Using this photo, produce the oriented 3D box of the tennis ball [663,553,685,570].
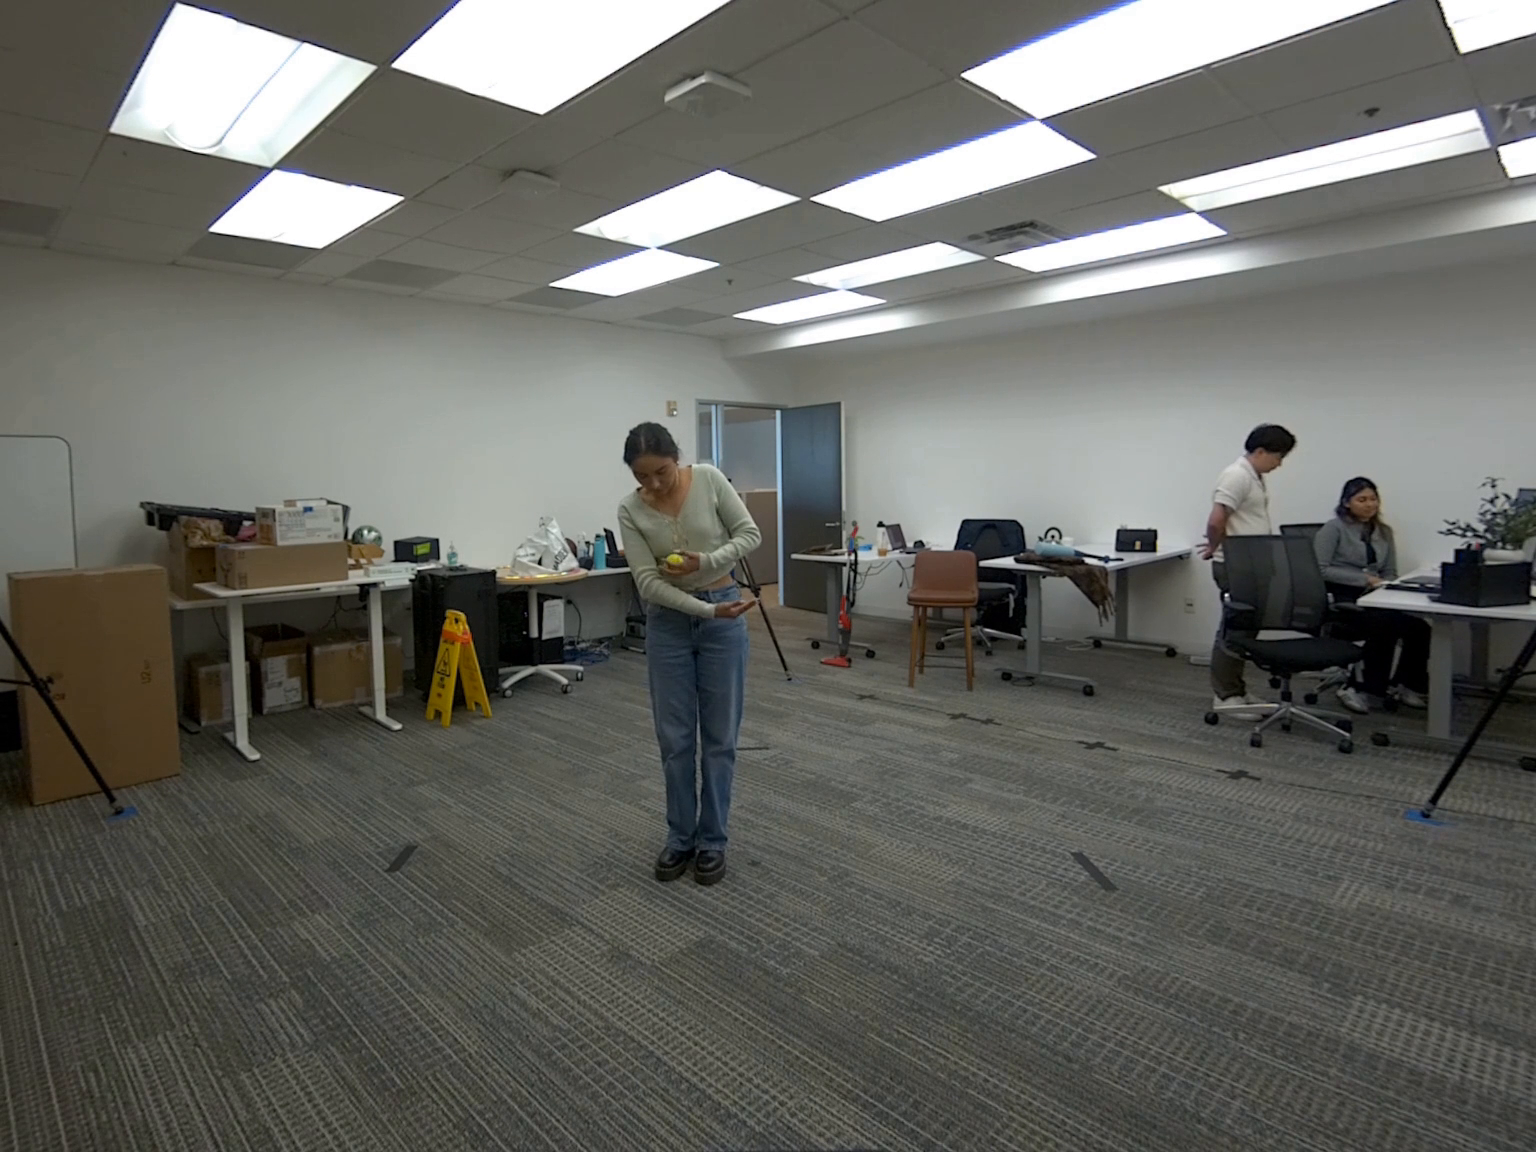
[{"bbox_3d":[-0.289,-0.036,2.886,0.066,0.066,0.067,-1,5,-2],"label":"tennis ball"}]
